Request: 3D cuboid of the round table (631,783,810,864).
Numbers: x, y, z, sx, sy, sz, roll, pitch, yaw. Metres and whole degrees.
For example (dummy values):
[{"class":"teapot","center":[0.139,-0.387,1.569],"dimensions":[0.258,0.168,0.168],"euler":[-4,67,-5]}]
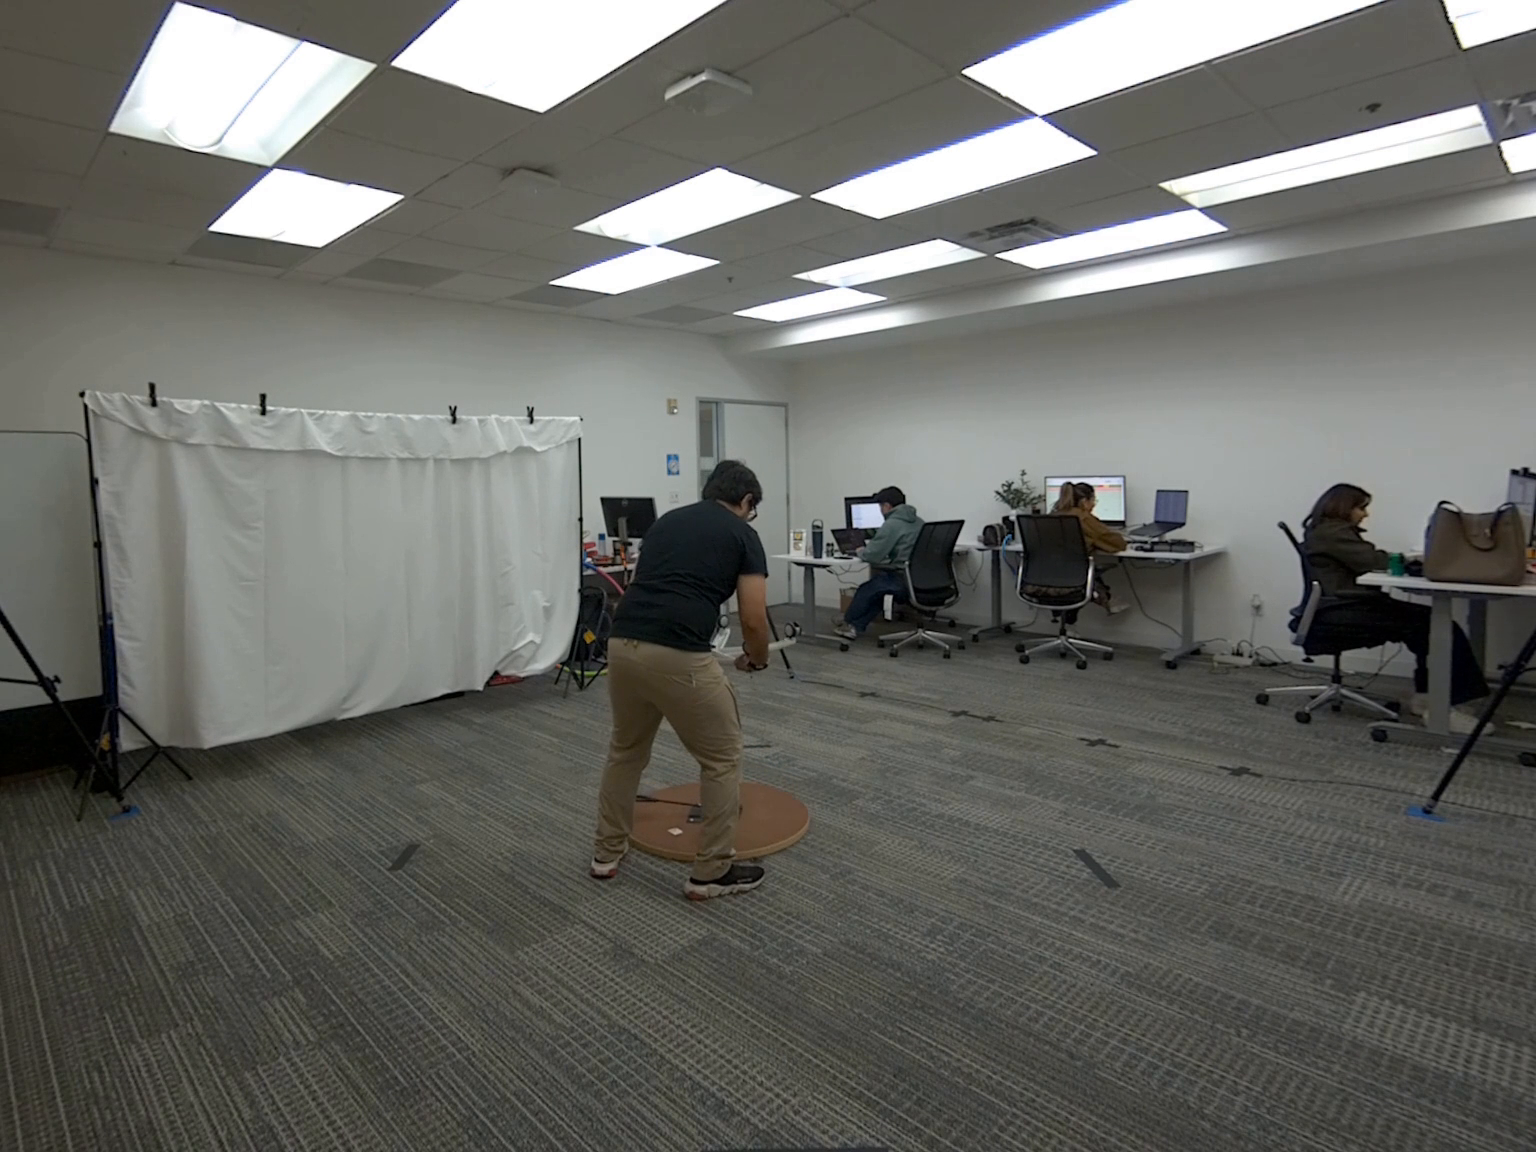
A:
[{"class":"round table","center":[-0.214,0.599,3.469],"dimensions":[0.784,0.783,0.790],"euler":[-1,6,-2]}]
